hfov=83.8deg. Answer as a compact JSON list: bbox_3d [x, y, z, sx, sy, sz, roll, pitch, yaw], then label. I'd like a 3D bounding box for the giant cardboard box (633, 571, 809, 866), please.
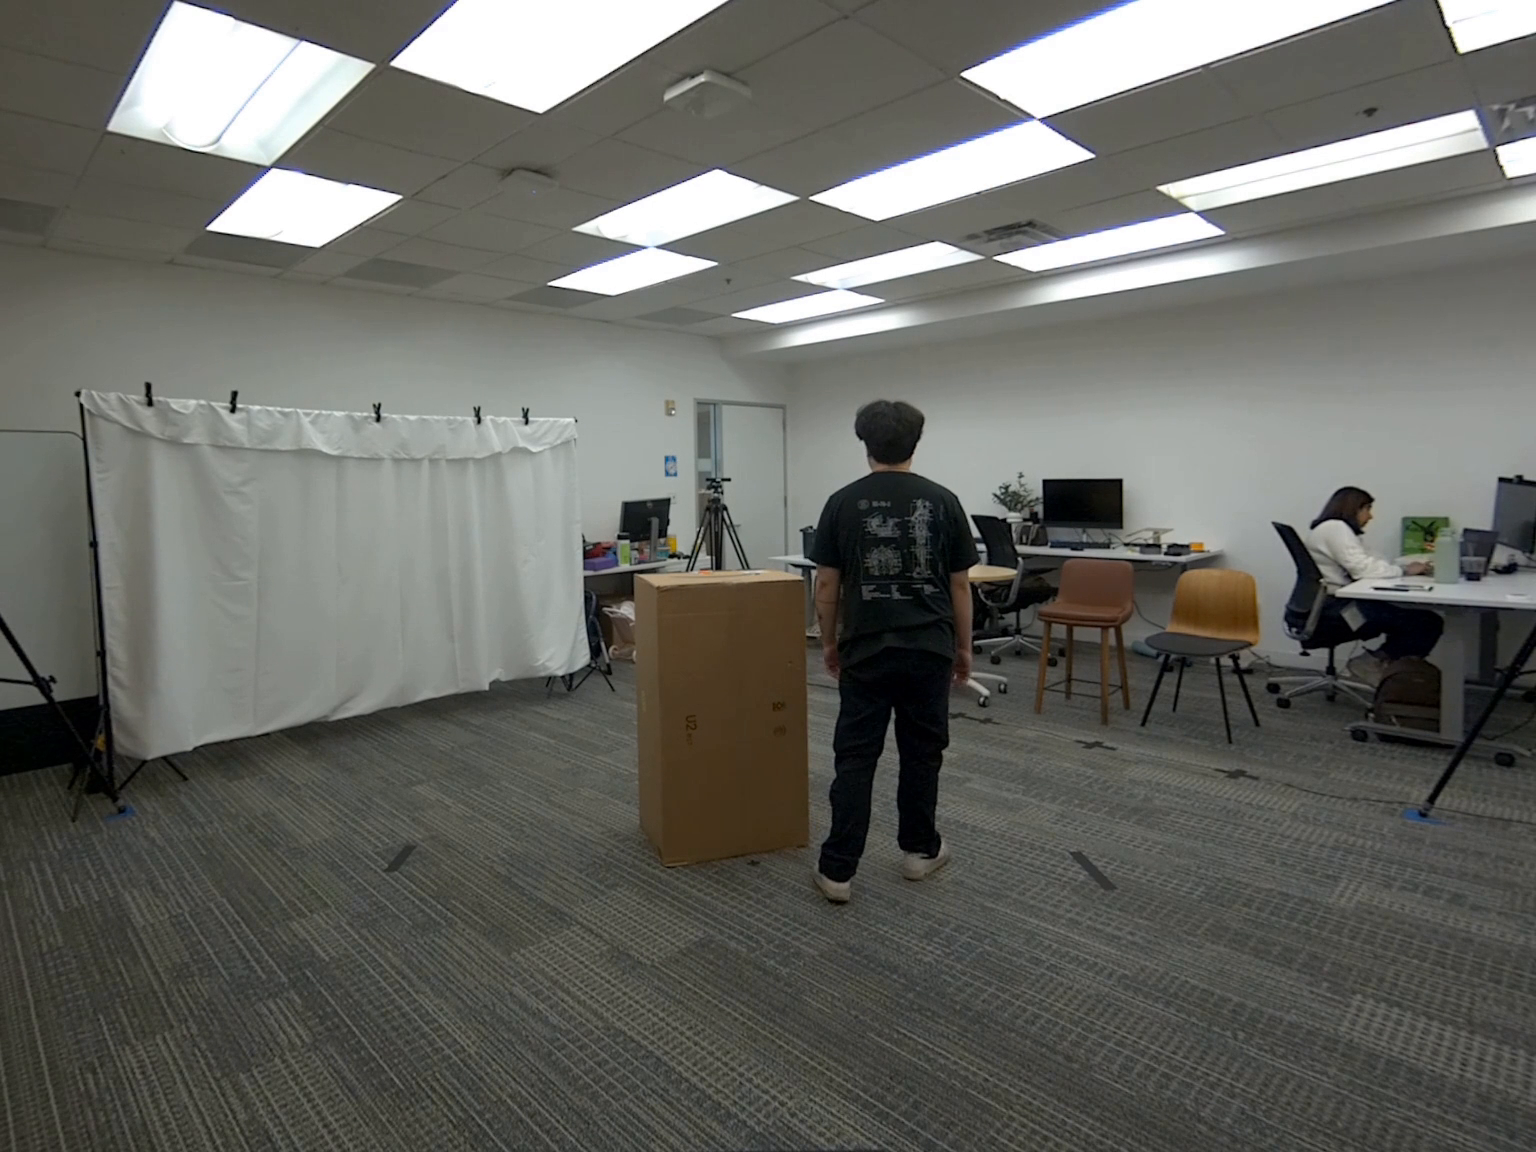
[{"bbox_3d":[-0.192,0.506,3.334,0.575,1.024,0.455,-2,4,-18],"label":"giant cardboard box"}]
